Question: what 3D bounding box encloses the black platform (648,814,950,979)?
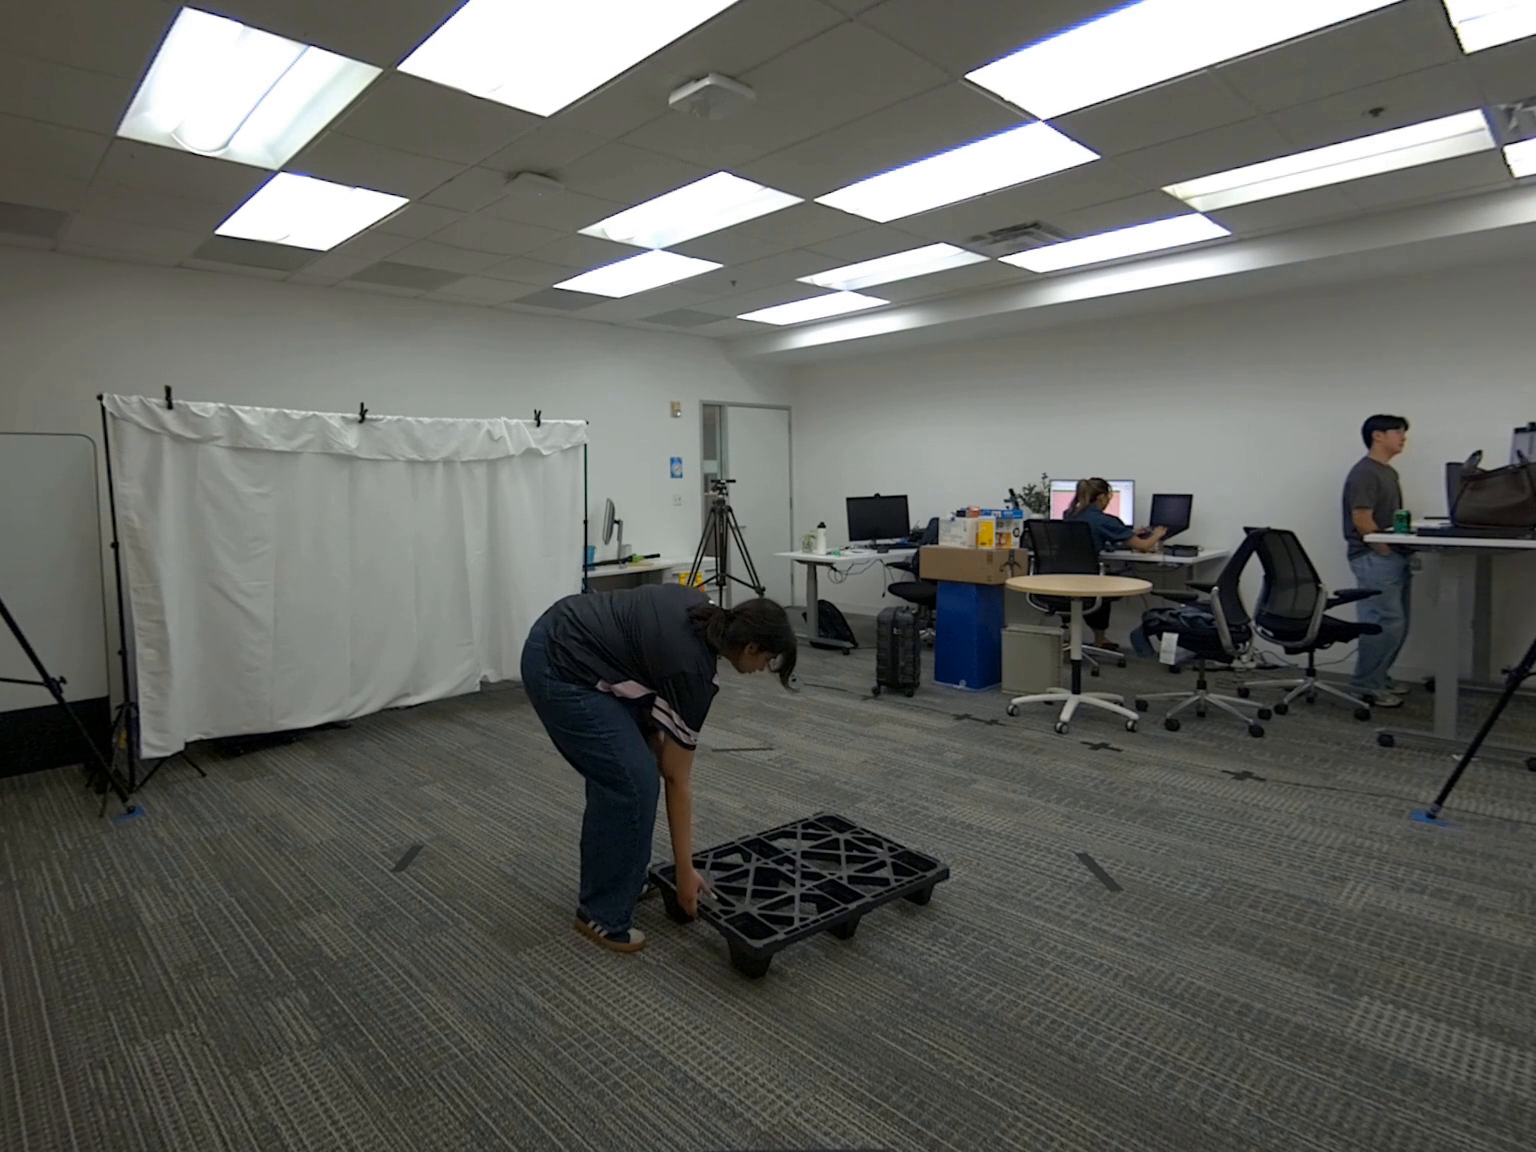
[{"bbox_3d":[0.108,1.017,2.784,0.785,0.142,0.624,-7,9,-36],"label":"black platform"}]
